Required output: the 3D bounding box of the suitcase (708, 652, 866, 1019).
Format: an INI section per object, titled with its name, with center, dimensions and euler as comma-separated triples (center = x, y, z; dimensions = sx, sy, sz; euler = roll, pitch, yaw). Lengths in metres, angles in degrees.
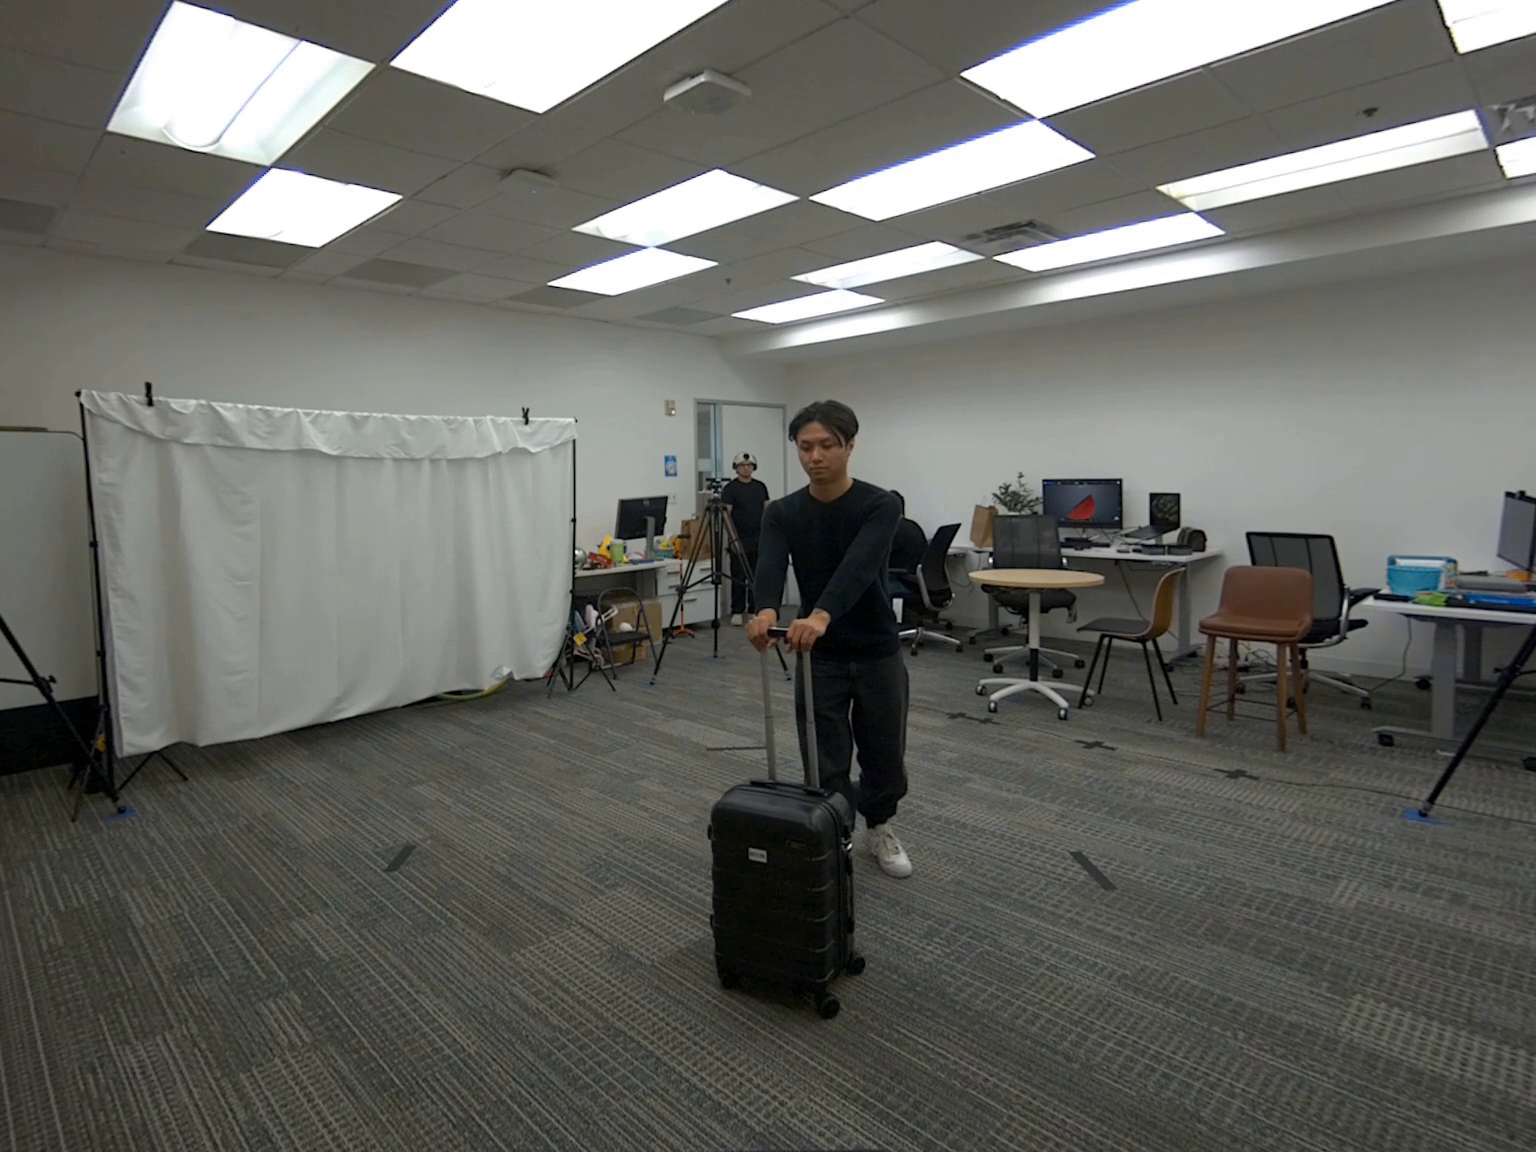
[suitcase]
center = 0.037, 0.656, 2.336
dimensions = 0.393, 0.973, 0.252
euler = -1, 6, 26
